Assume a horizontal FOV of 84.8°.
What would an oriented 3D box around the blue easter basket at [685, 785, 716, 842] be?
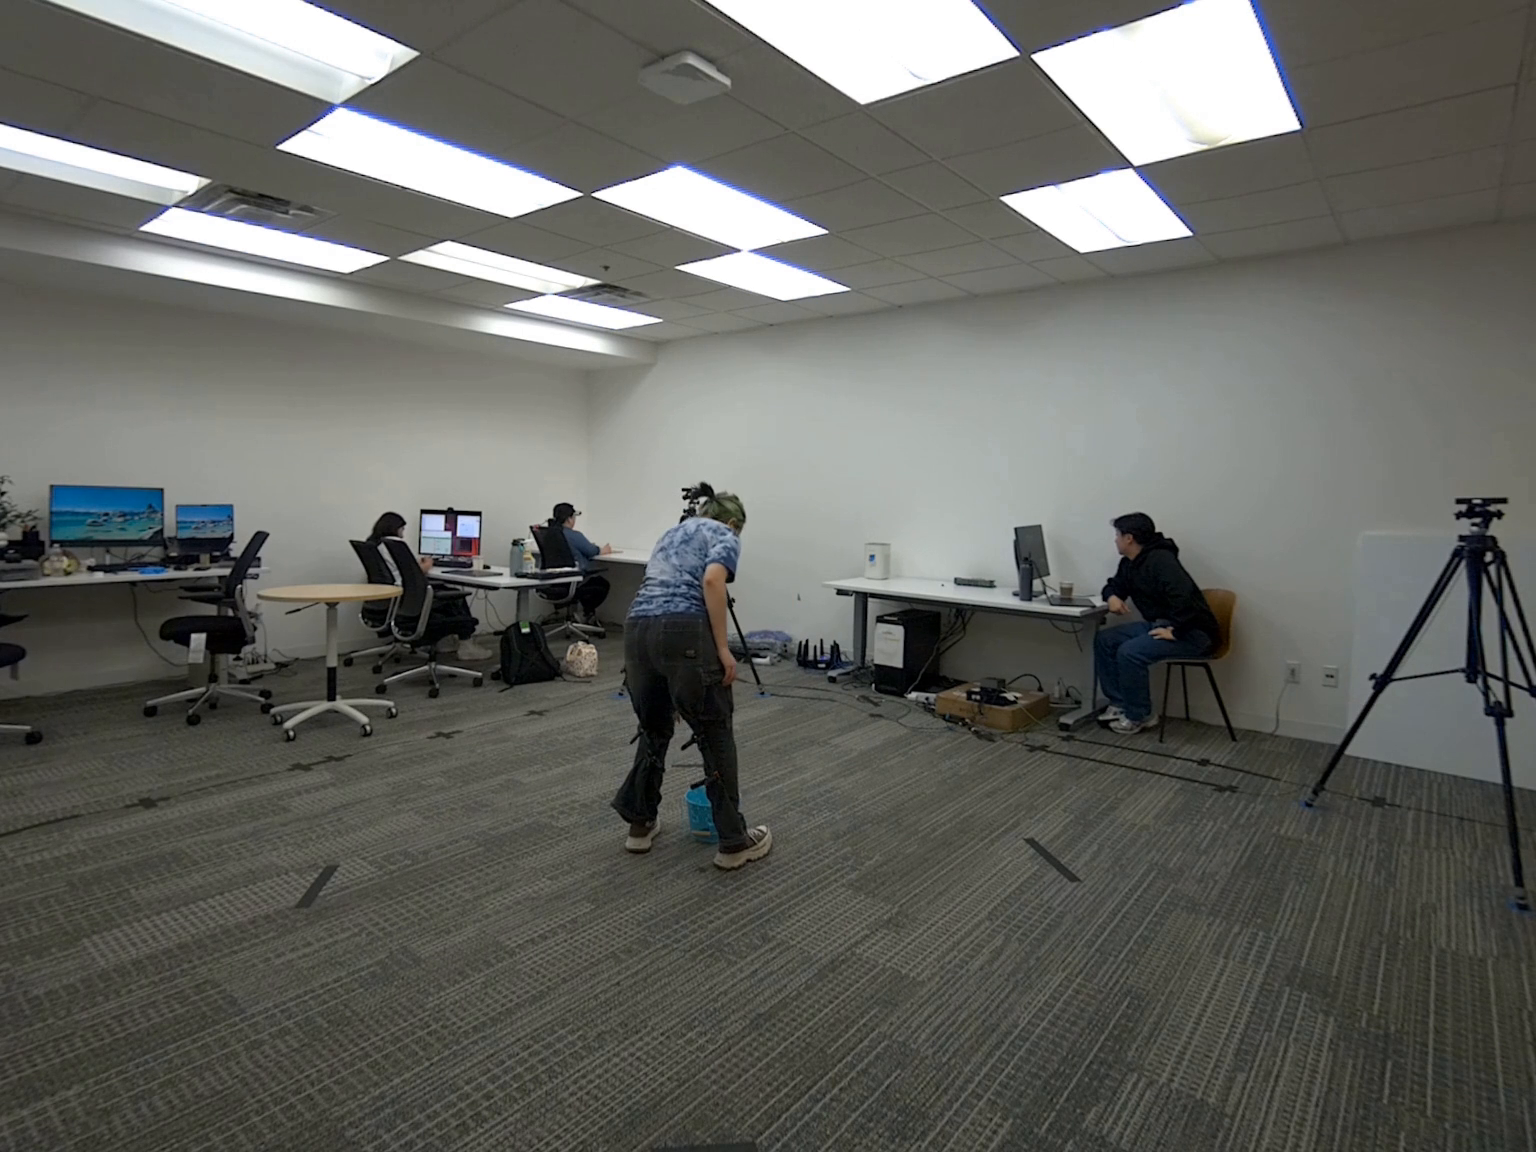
[{"bbox_3d":[-0.239,0.962,3.441,0.243,0.155,0.245,1,5,-2],"label":"blue easter basket"}]
